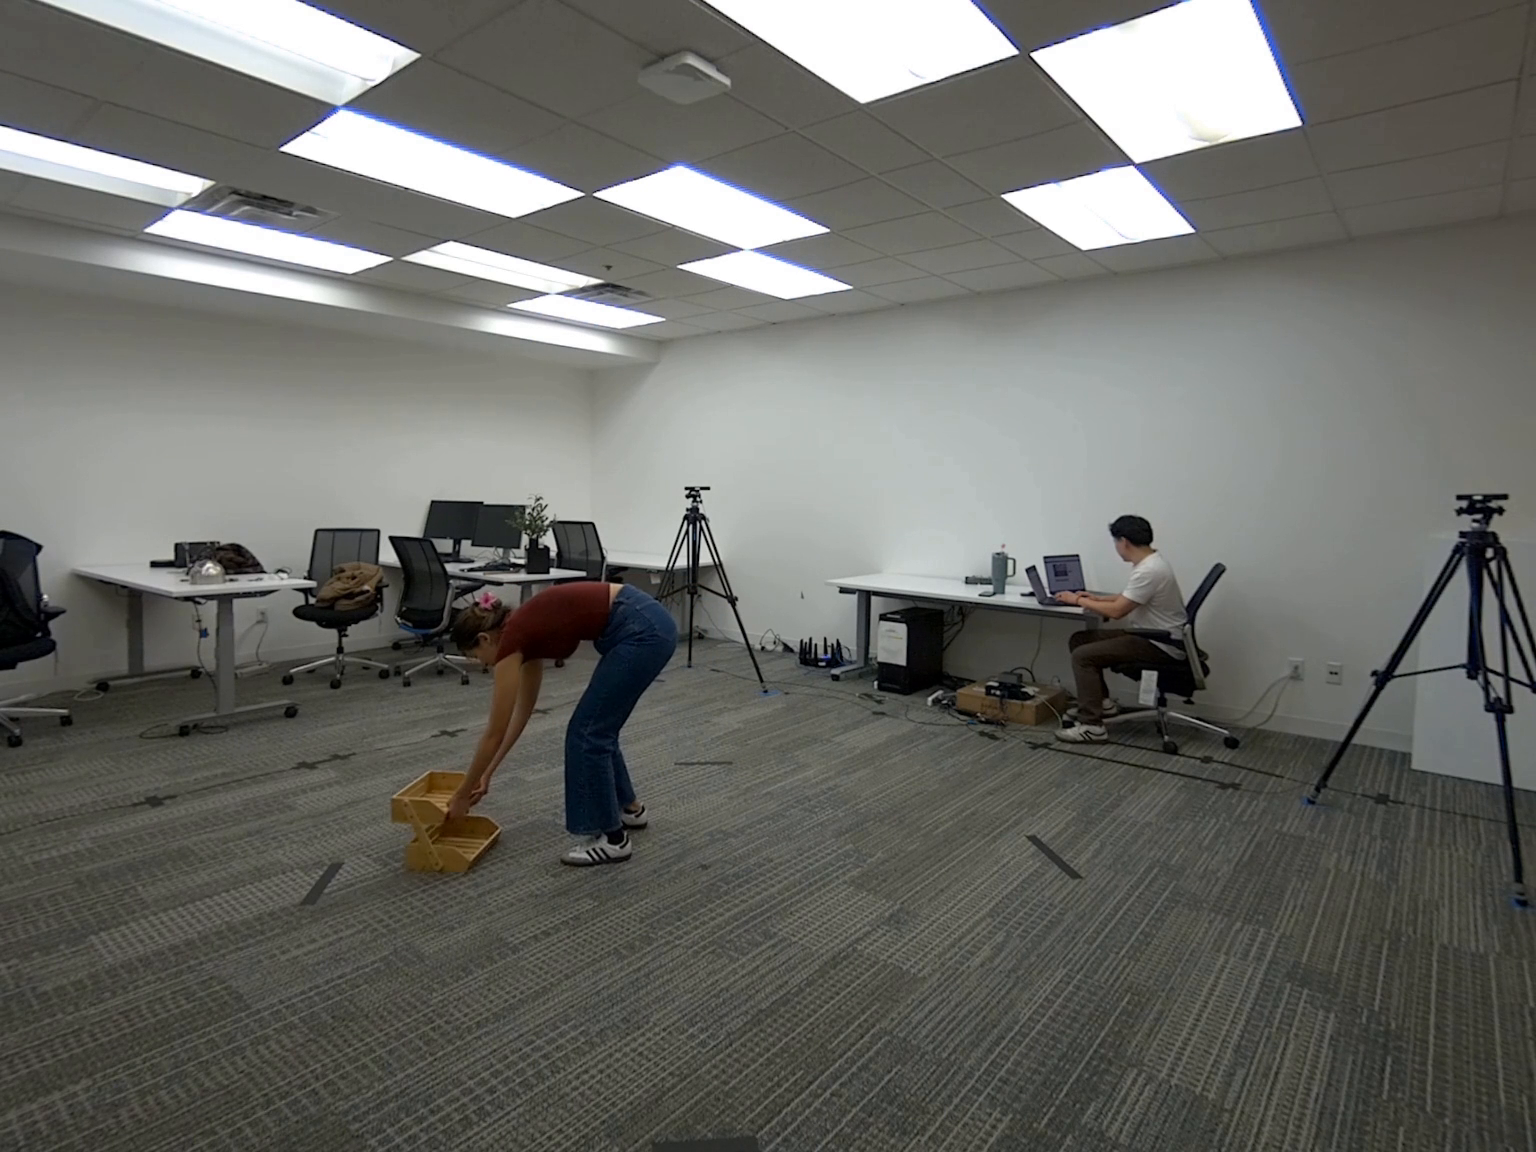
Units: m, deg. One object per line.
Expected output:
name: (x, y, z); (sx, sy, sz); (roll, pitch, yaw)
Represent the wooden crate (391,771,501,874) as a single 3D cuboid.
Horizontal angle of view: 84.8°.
wooden crate: (-1.210, 0.914, 3.204); (0.304, 0.272, 0.323); (-1, 5, 5)
